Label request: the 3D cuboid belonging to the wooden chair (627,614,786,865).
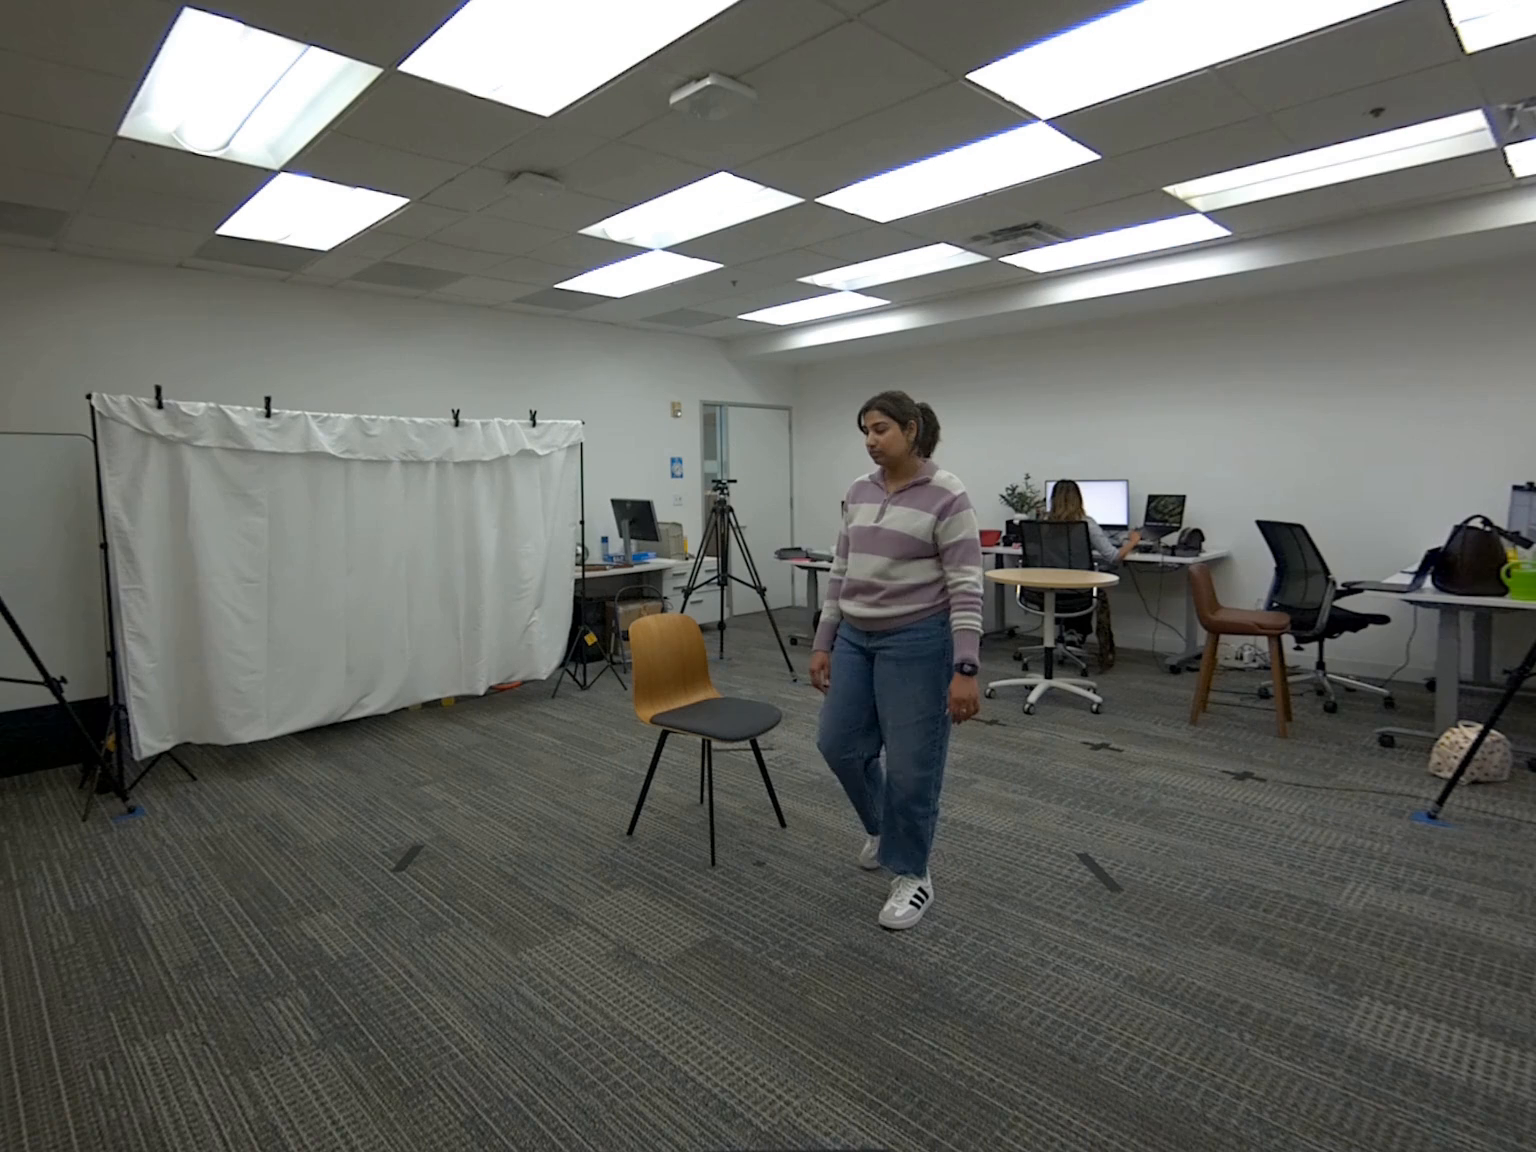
[{"bbox_3d":[-0.239,0.593,3.365,0.537,0.877,0.466,-3,1,39],"label":"wooden chair"}]
